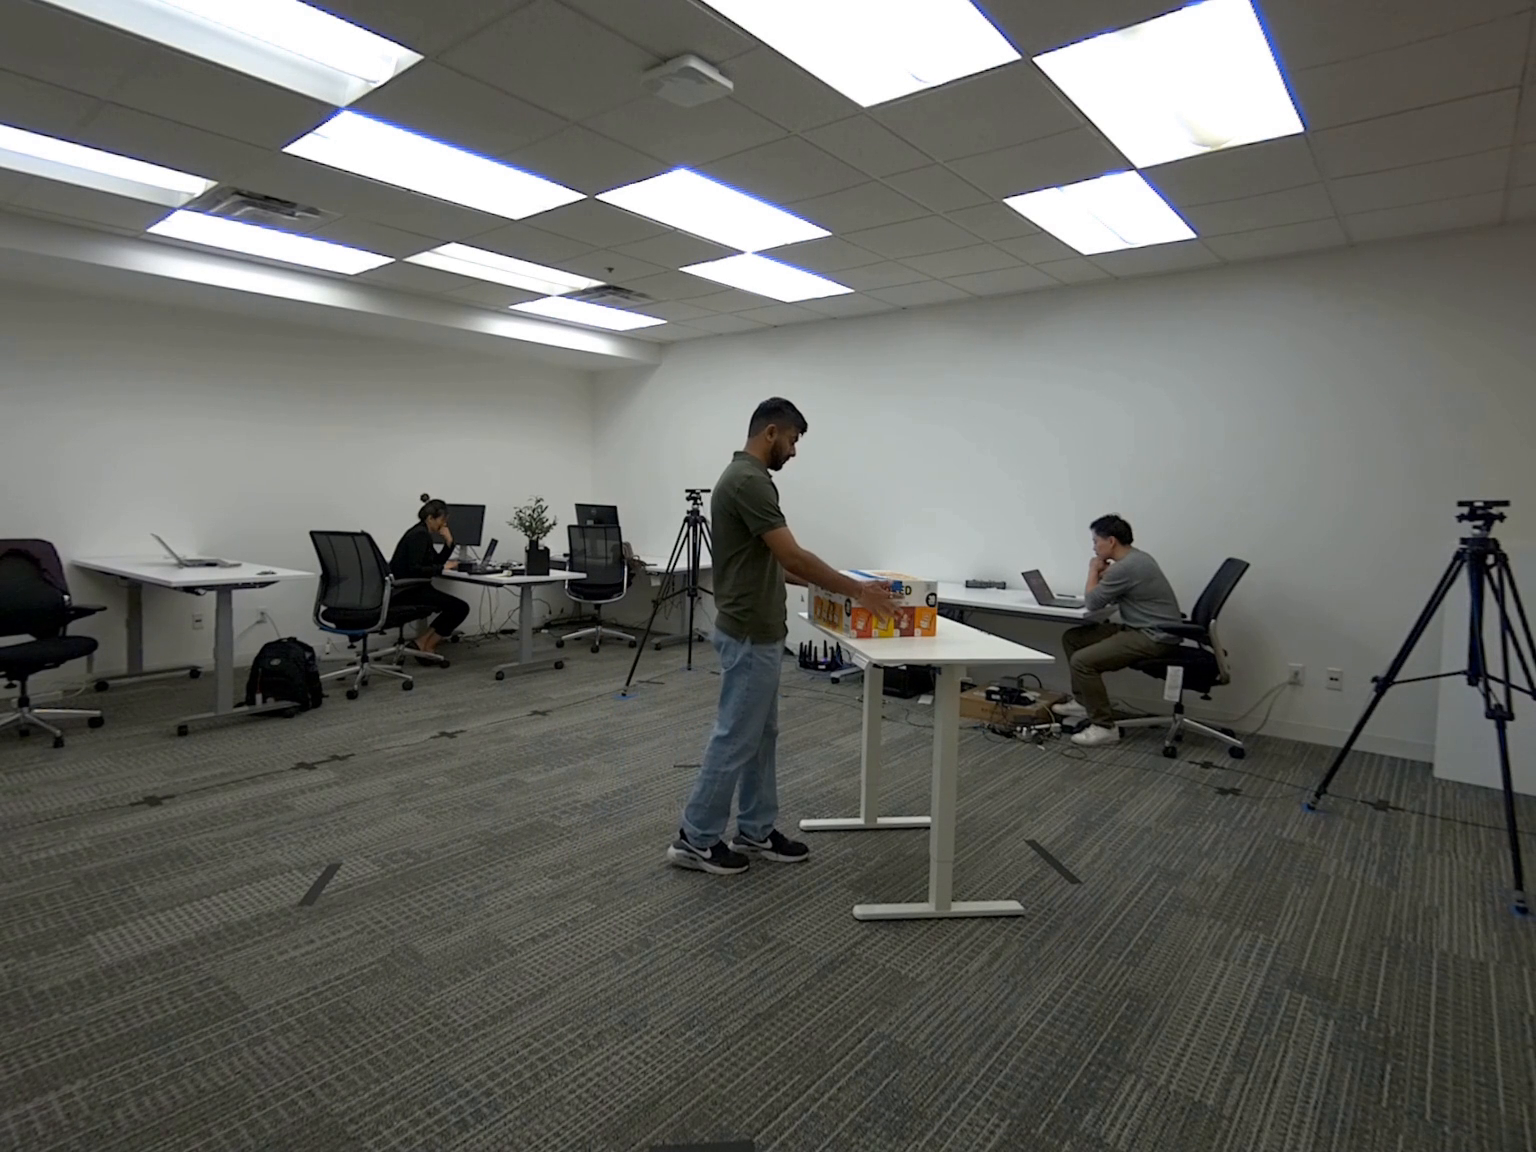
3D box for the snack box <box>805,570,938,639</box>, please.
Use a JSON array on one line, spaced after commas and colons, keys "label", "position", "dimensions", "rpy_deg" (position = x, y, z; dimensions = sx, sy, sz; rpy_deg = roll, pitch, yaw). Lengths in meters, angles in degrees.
[{"label": "snack box", "position": [0.381, 0.097, 3.209], "dimensions": [0.334, 0.205, 0.414], "rpy_deg": [0, 5, -18]}]
